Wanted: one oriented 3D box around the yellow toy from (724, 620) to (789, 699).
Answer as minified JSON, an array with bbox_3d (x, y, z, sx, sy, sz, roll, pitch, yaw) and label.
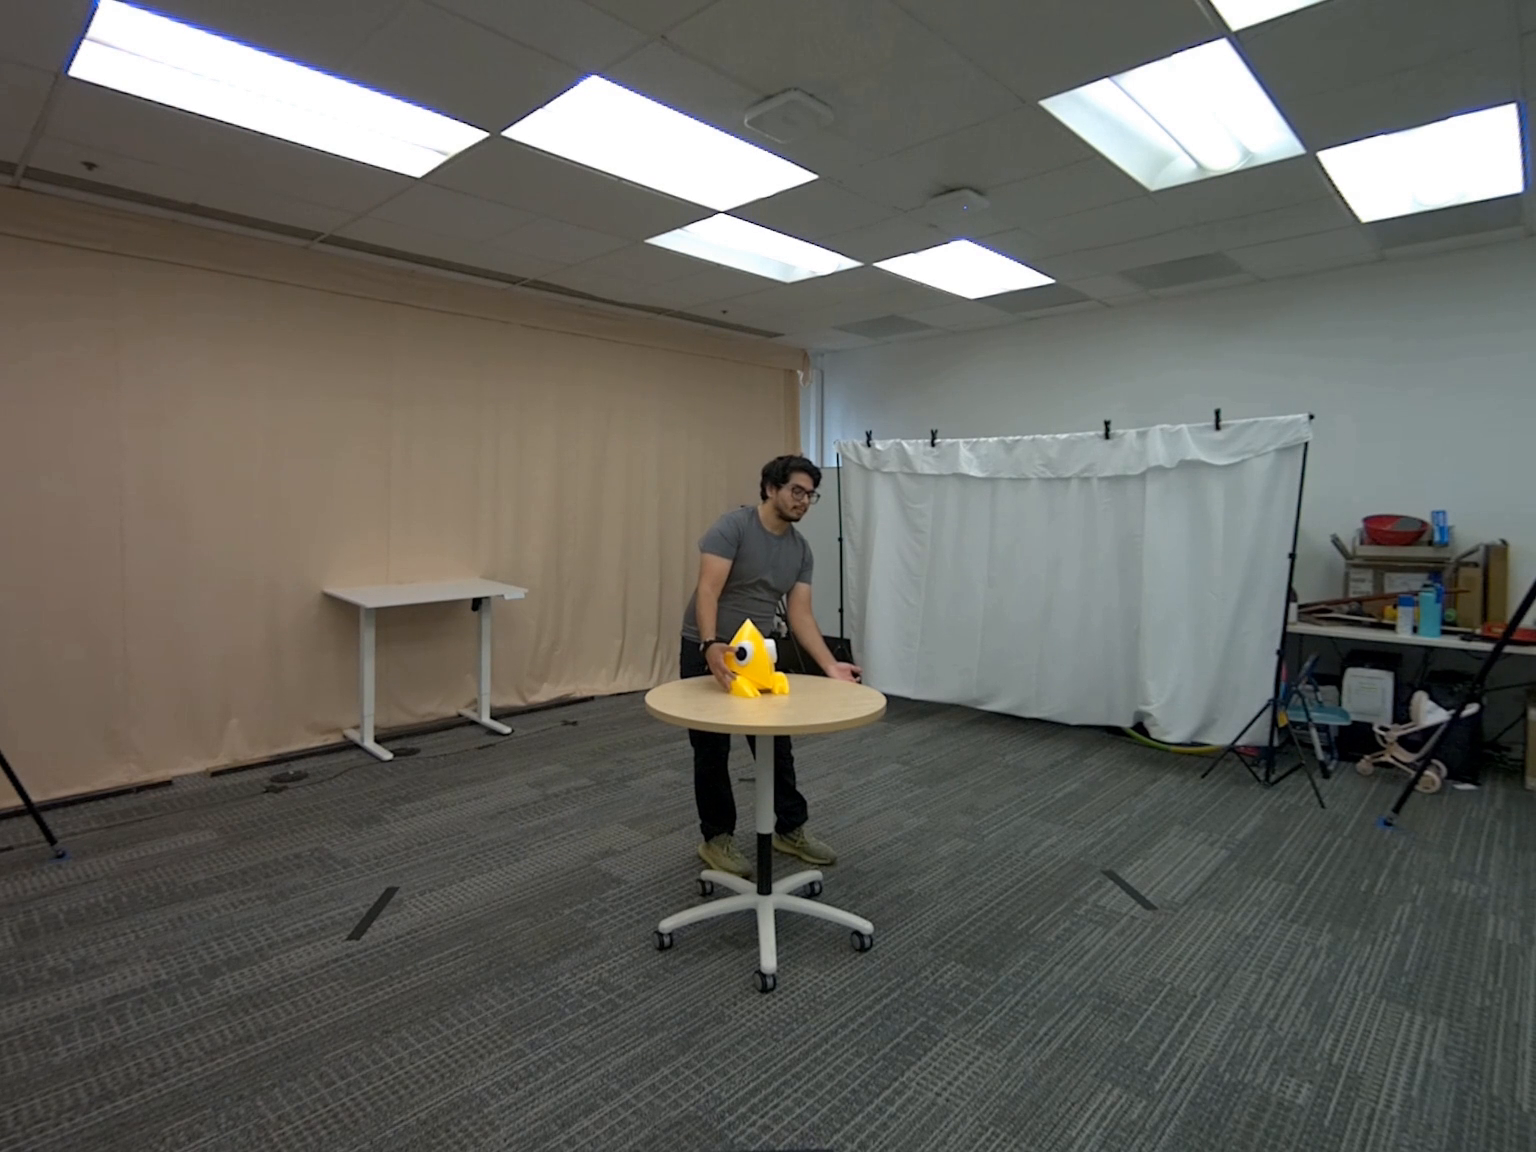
[{"bbox_3d":[-0.035,0.263,2.779,0.199,0.230,0.198,-3,3,-28],"label":"yellow toy"}]
